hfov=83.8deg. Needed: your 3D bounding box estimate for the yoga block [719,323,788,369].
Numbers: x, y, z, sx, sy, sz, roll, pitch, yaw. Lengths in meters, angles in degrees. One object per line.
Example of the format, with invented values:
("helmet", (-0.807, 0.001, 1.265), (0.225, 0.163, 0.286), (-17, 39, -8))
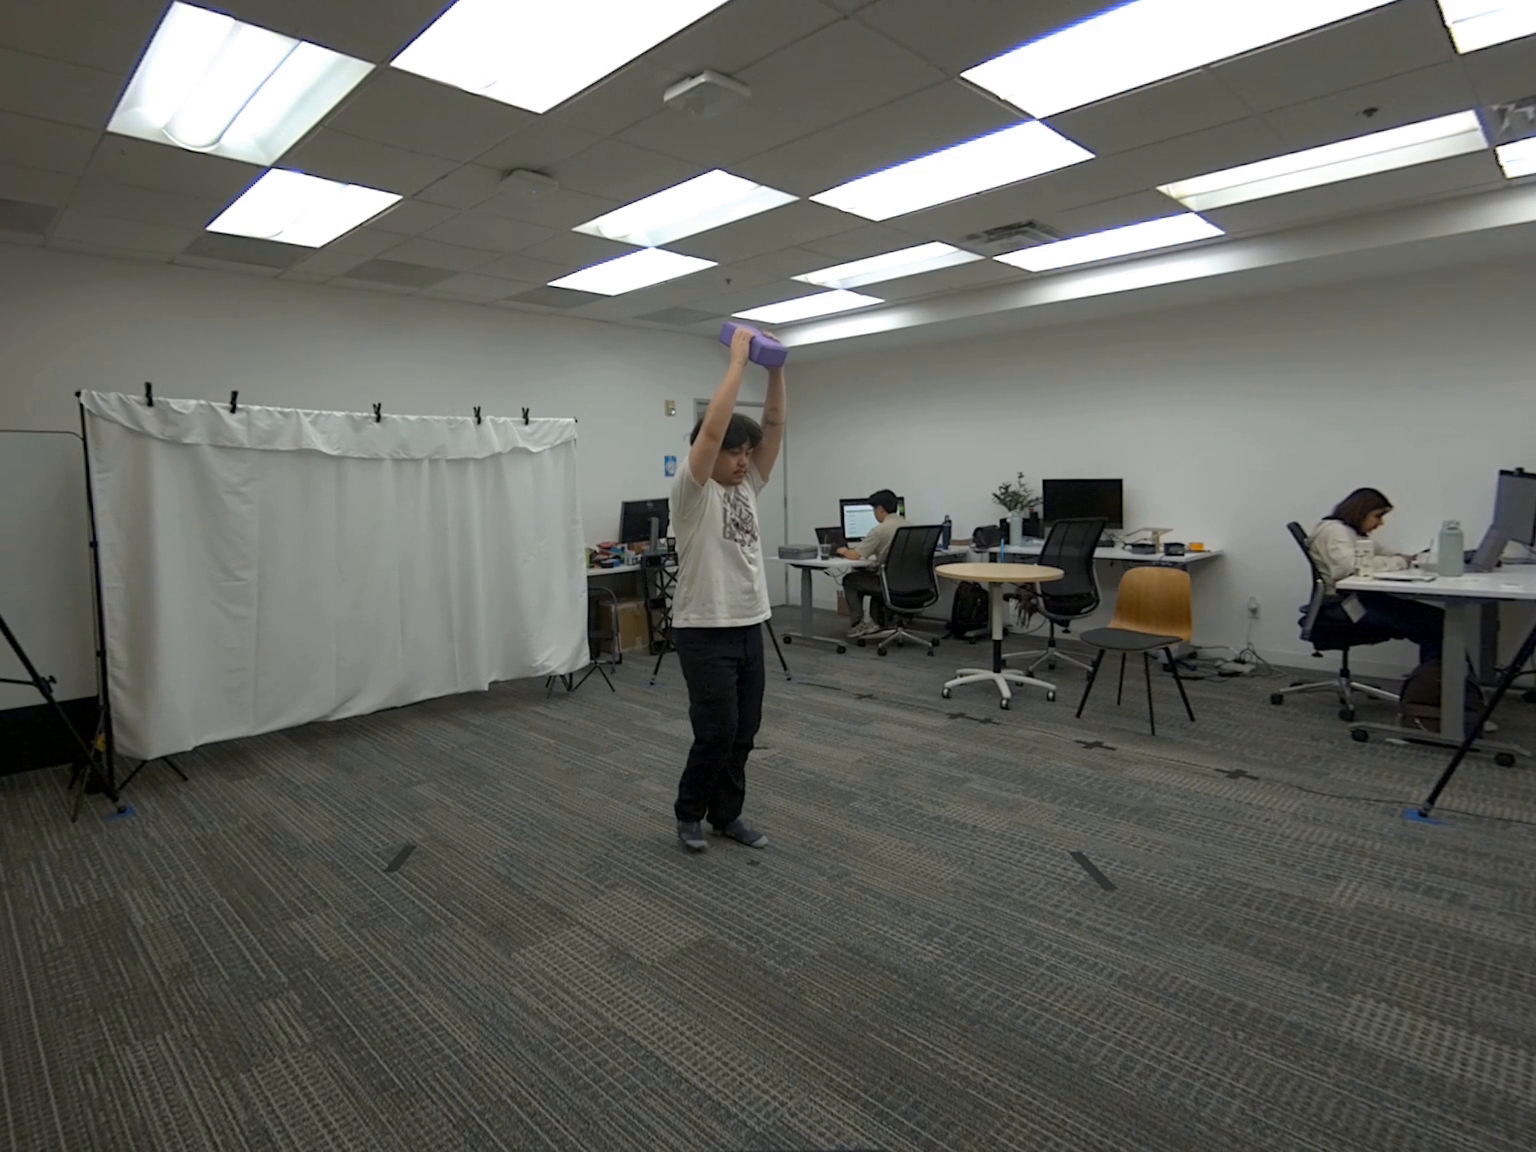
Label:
("yoga block", (-0.062, -0.841, 3.112), (0.145, 0.075, 0.238), (-6, 37, -46))
